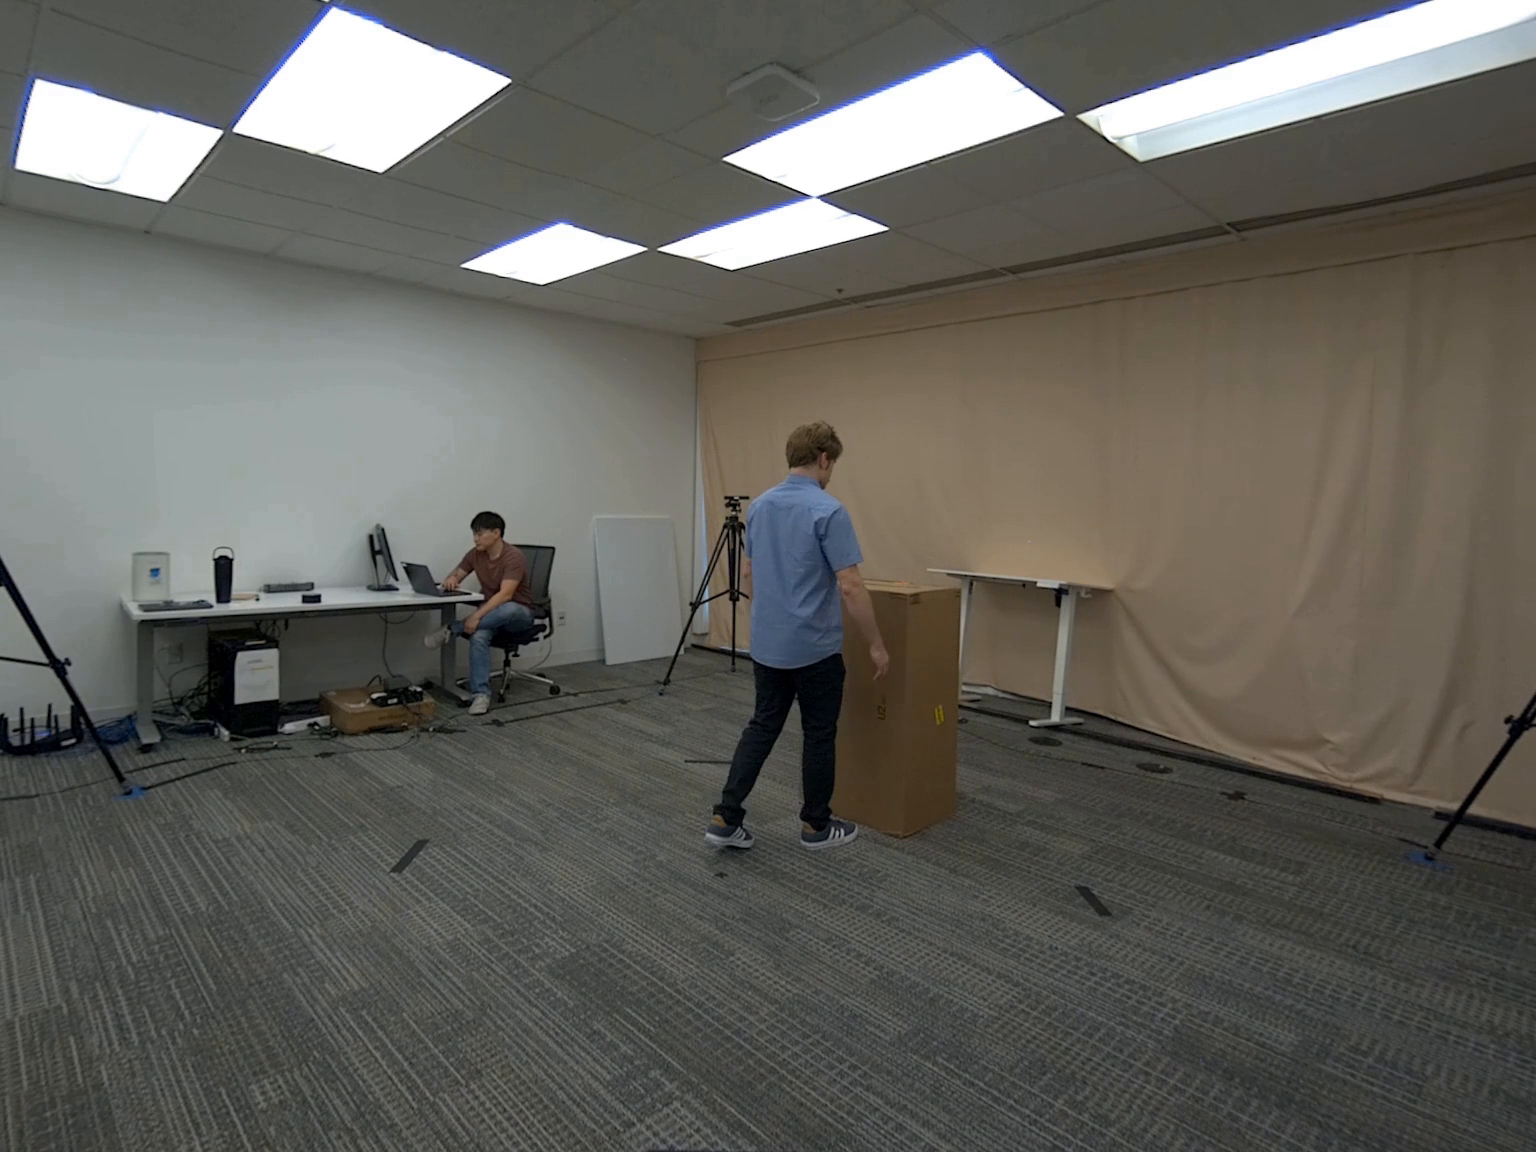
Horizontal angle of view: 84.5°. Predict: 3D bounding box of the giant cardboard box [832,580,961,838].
[{"bbox_3d":[0.493,0.549,3.814,0.592,1.023,0.416,4,4,45],"label":"giant cardboard box"}]
